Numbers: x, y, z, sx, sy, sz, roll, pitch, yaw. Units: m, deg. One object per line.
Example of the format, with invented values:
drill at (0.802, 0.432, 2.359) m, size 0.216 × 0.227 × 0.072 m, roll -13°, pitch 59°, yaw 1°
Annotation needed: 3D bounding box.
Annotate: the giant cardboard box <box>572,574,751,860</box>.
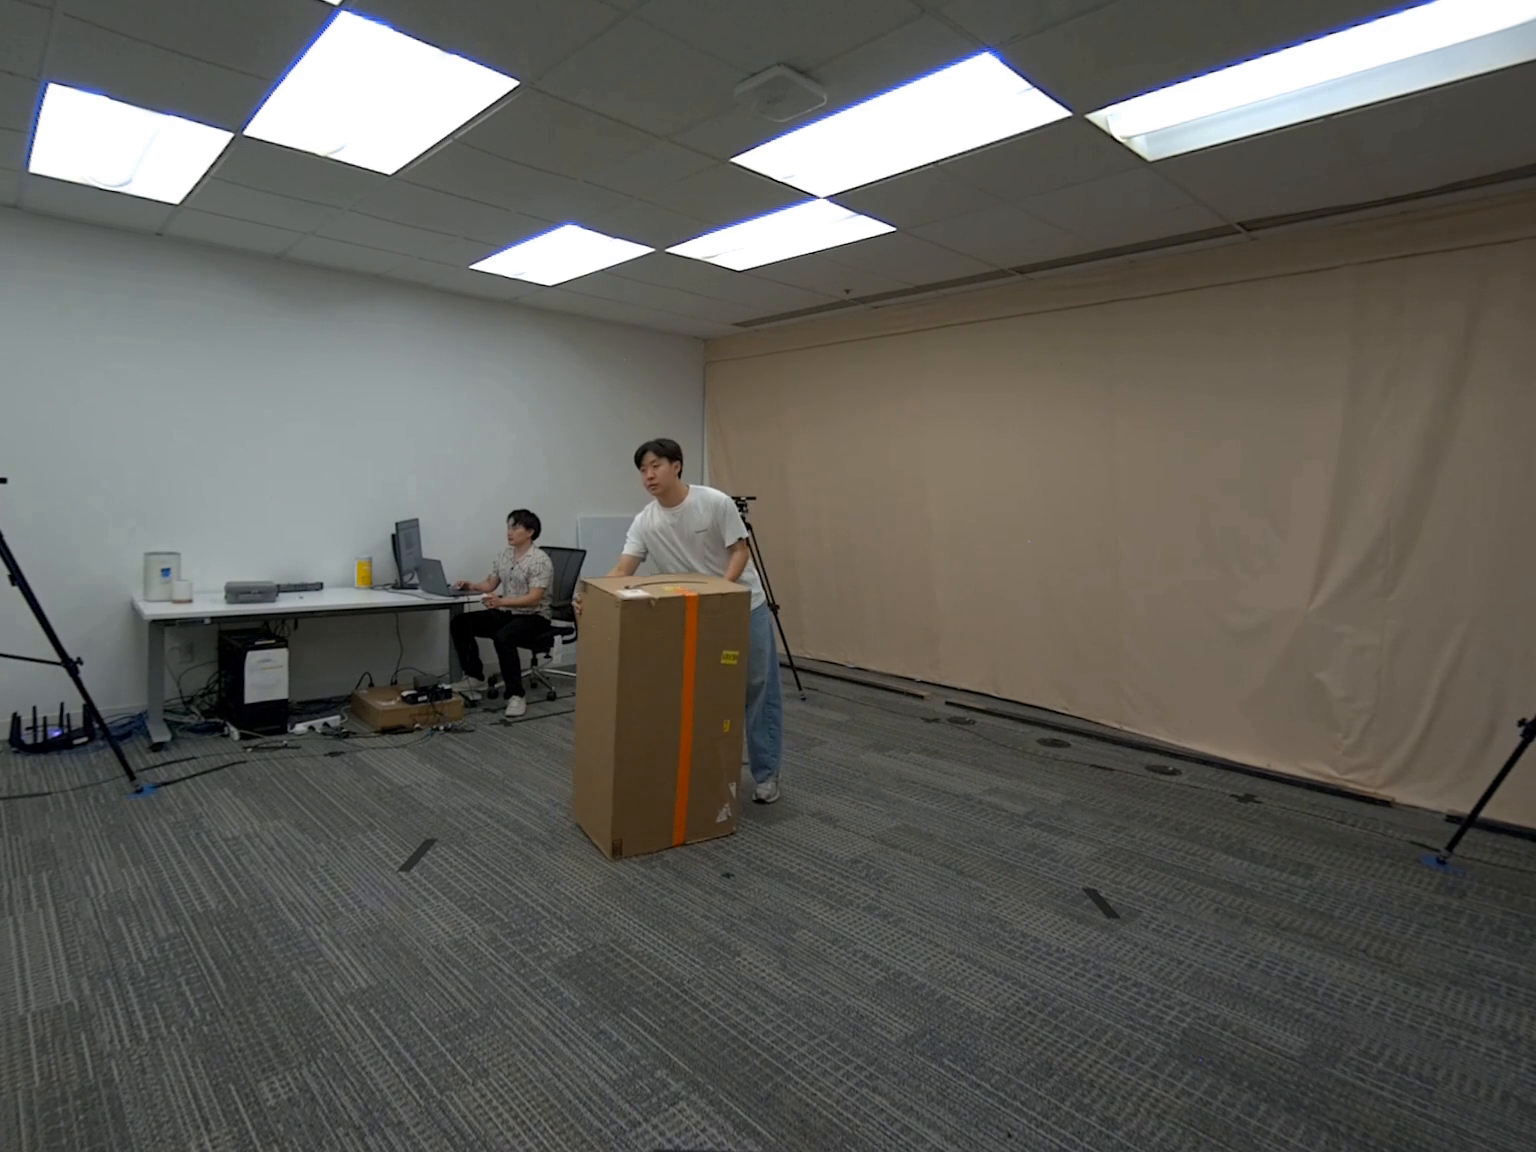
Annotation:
giant cardboard box at (-0.456, 0.525, 3.453) m, size 0.565 × 1.020 × 0.437 m, roll -2°, pitch 10°, yaw -33°
